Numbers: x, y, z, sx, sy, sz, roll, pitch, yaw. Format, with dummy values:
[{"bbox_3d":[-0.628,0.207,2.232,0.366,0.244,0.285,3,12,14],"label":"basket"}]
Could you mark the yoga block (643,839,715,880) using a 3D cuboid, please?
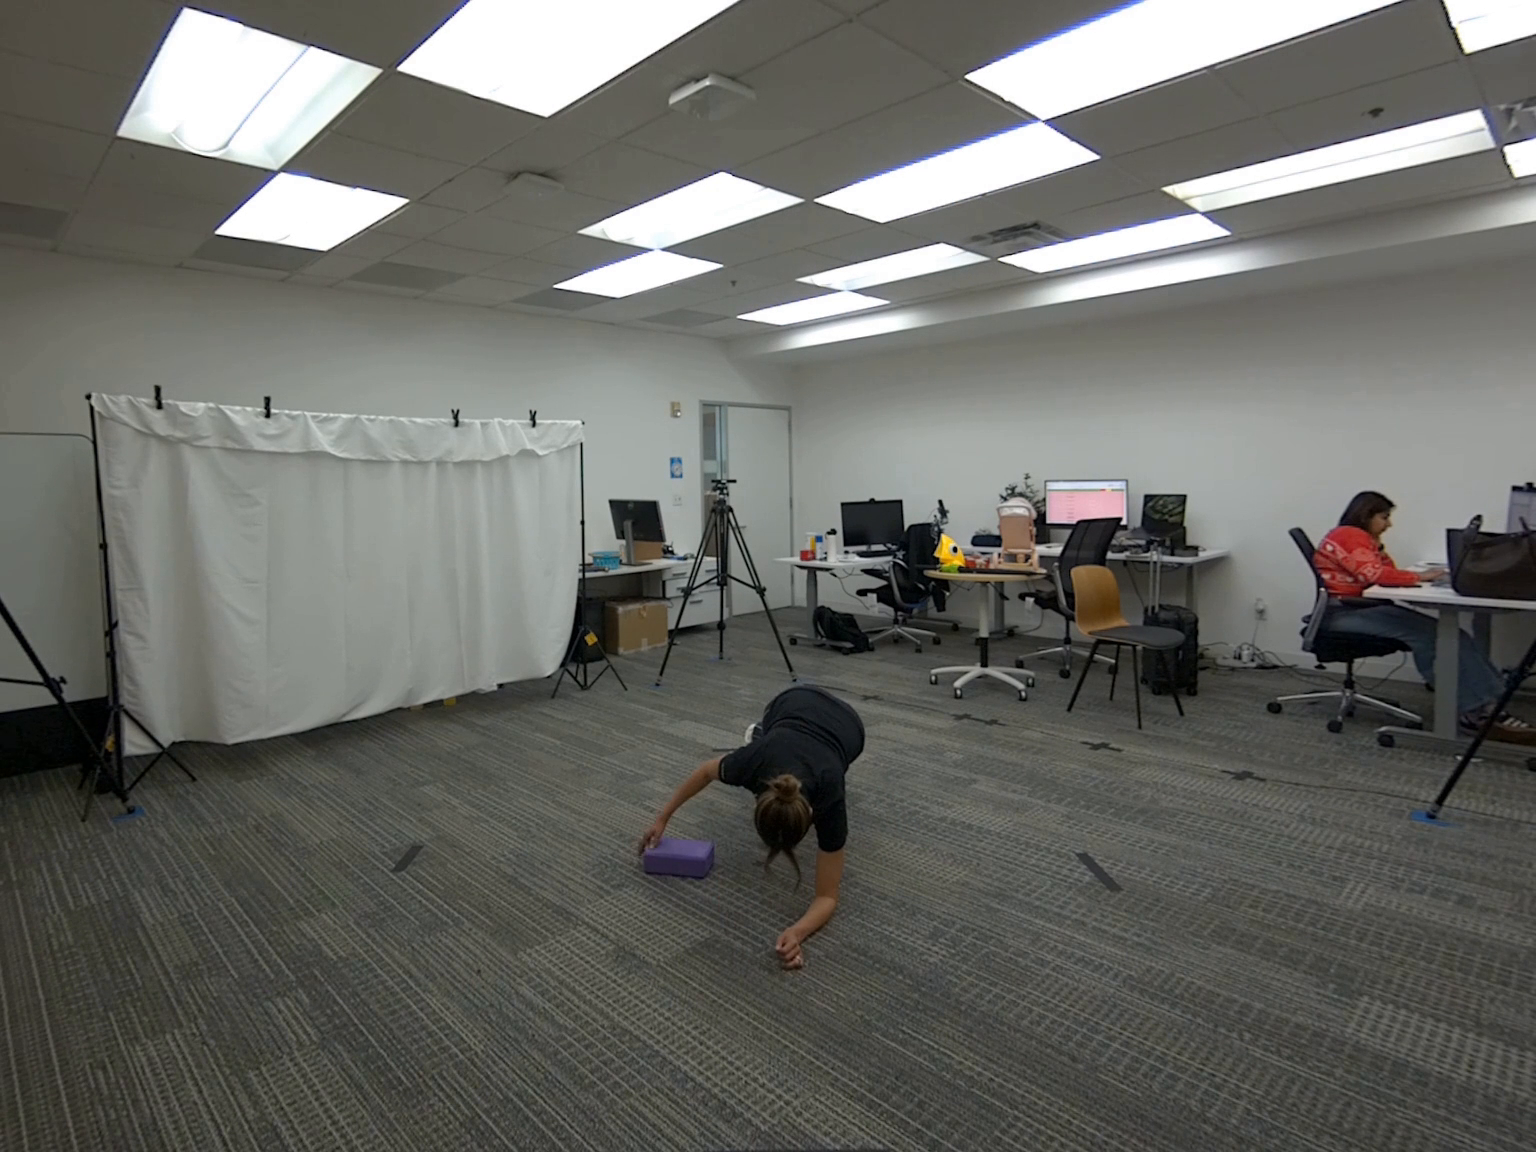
[{"bbox_3d":[-0.316,1.006,3.082,0.232,0.076,0.147,2,5,13],"label":"yoga block"}]
